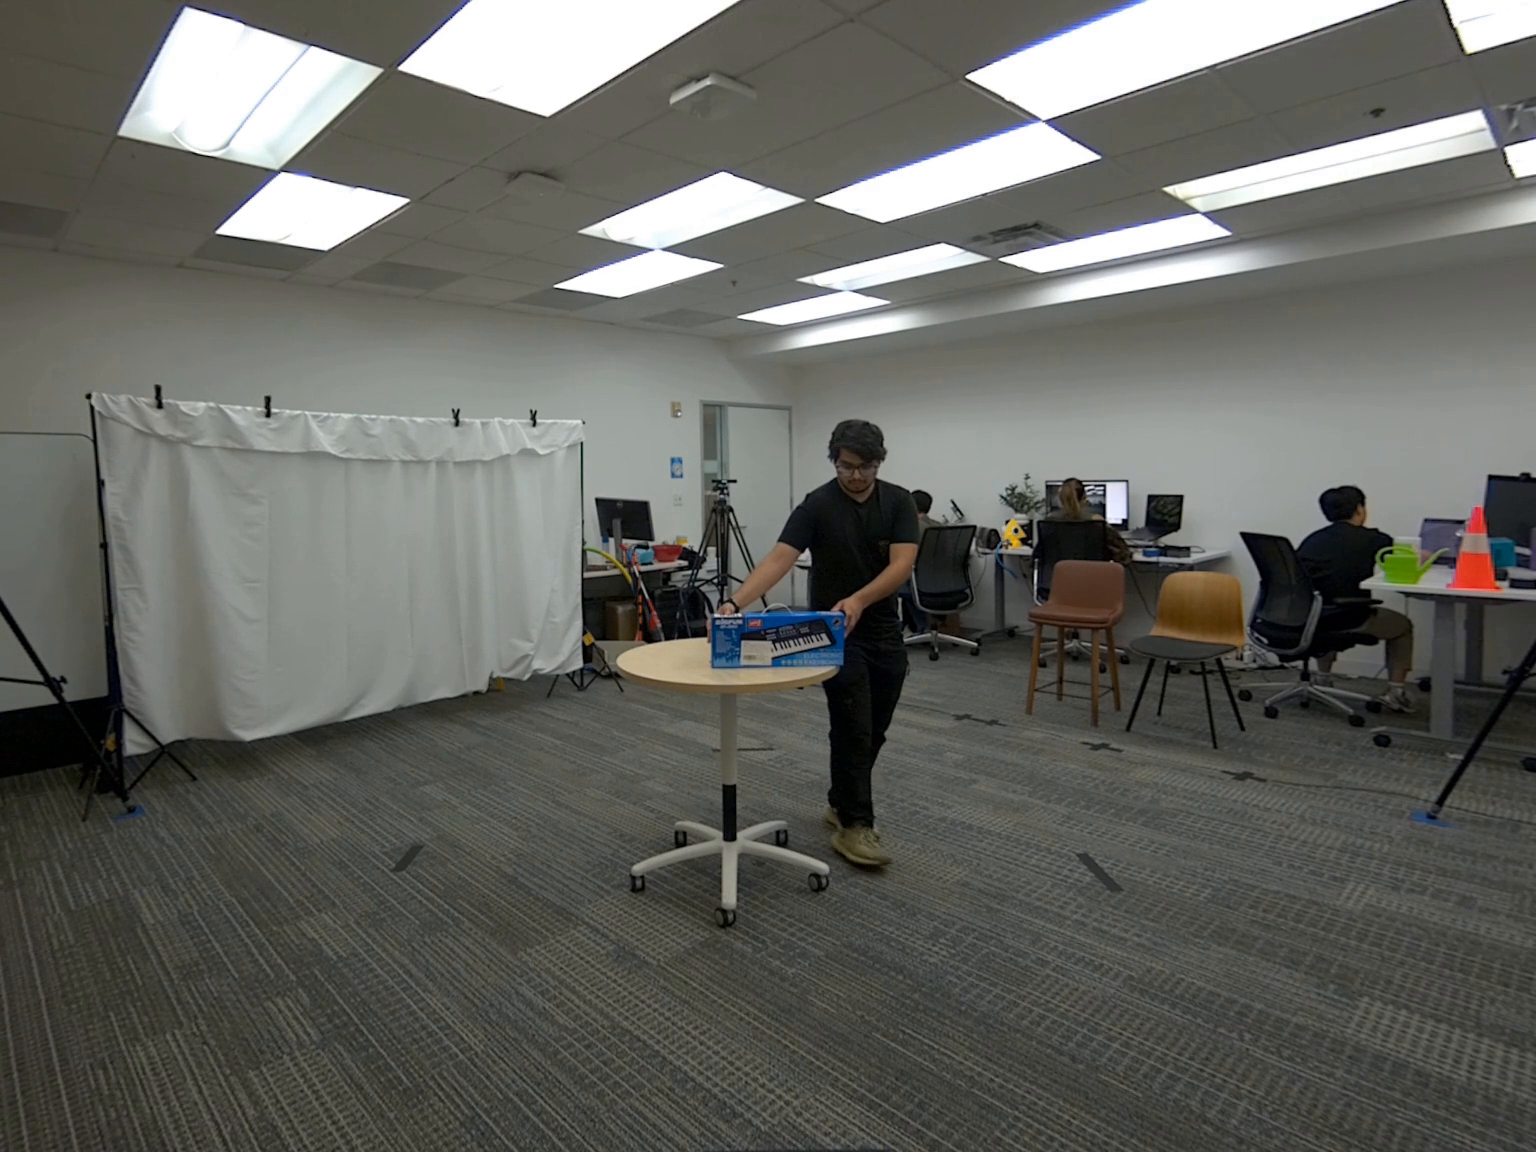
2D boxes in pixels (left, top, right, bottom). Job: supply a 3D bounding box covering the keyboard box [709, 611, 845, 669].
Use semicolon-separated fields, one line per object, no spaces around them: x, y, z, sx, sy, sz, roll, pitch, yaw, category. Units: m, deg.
0.032;0.207;2.829;0.434;0.175;0.060;-2;7;-5;keyboard box
